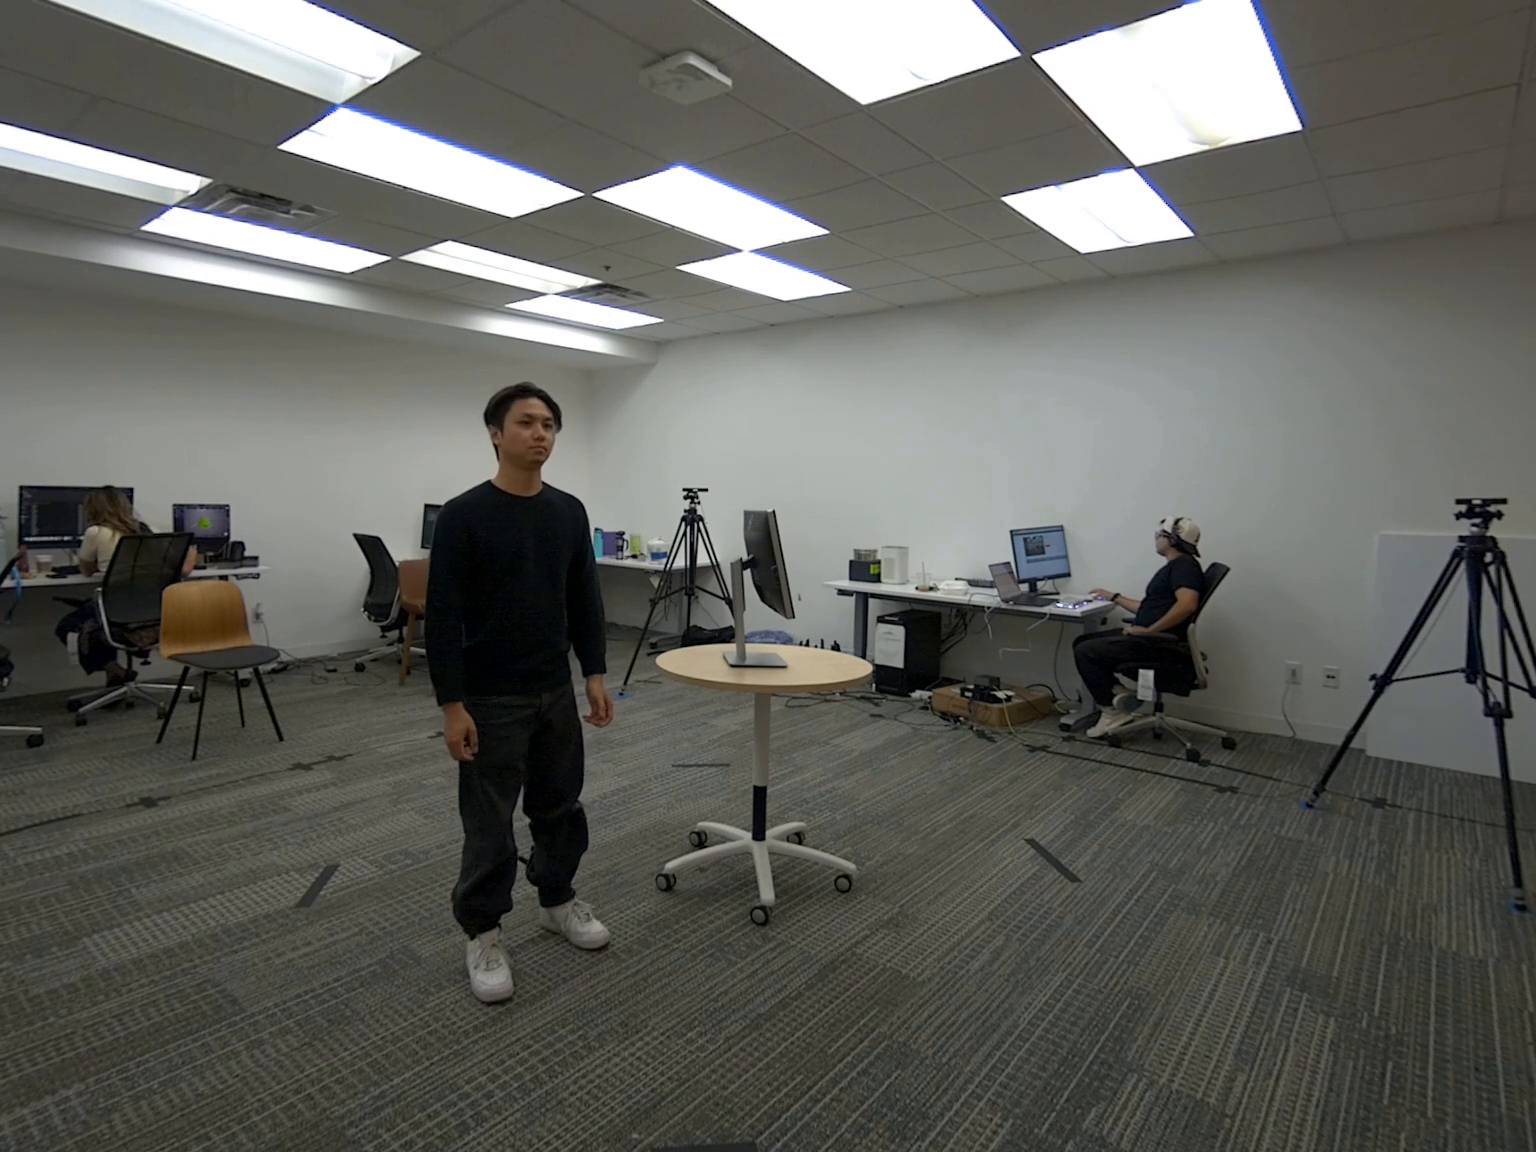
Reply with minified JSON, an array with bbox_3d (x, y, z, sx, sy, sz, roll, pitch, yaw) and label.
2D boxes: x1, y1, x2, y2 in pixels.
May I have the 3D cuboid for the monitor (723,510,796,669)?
[{"bbox_3d":[-0.055,0.042,3.016,0.185,0.520,0.547,1,5,-11],"label":"monitor"}]
